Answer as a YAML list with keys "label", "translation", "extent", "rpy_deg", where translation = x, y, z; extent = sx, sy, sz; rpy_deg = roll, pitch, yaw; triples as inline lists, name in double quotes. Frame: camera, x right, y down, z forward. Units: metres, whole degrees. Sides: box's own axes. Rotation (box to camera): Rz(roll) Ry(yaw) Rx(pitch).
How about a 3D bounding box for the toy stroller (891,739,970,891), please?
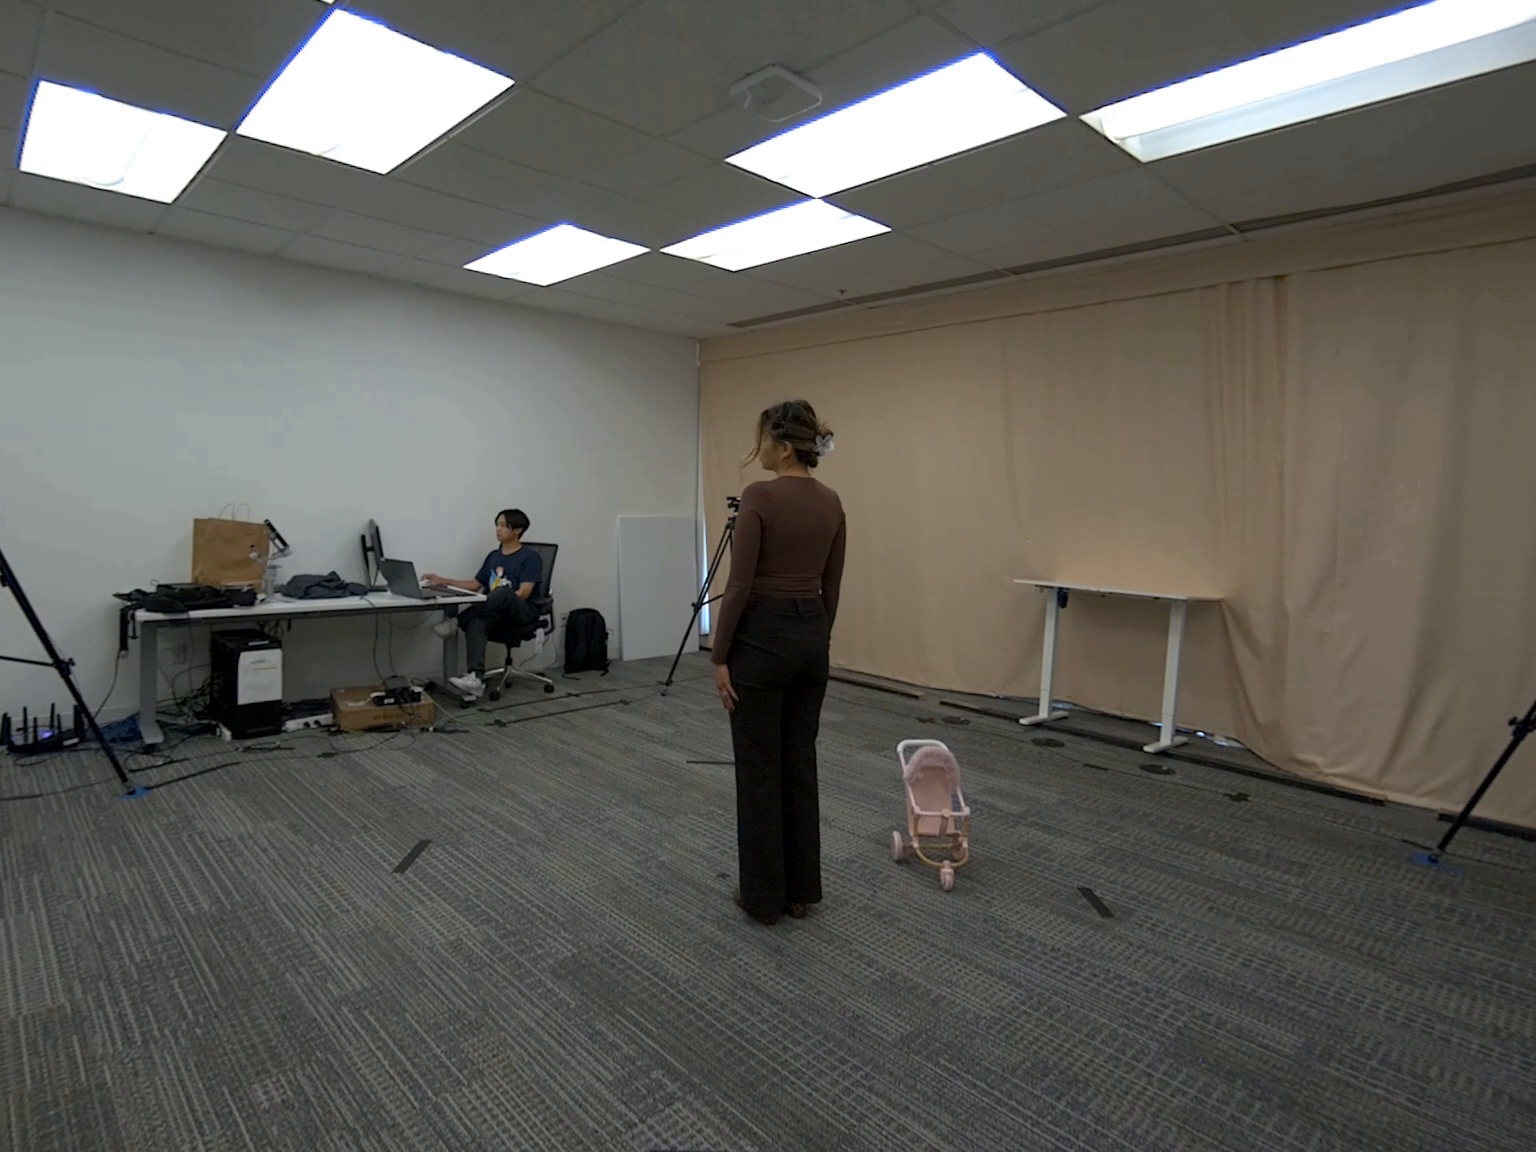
- label: "toy stroller"
  translation: [0.626, 0.892, 3.214]
  extent: [0.281, 0.540, 0.338]
  rpy_deg: [1, -13, 0]
